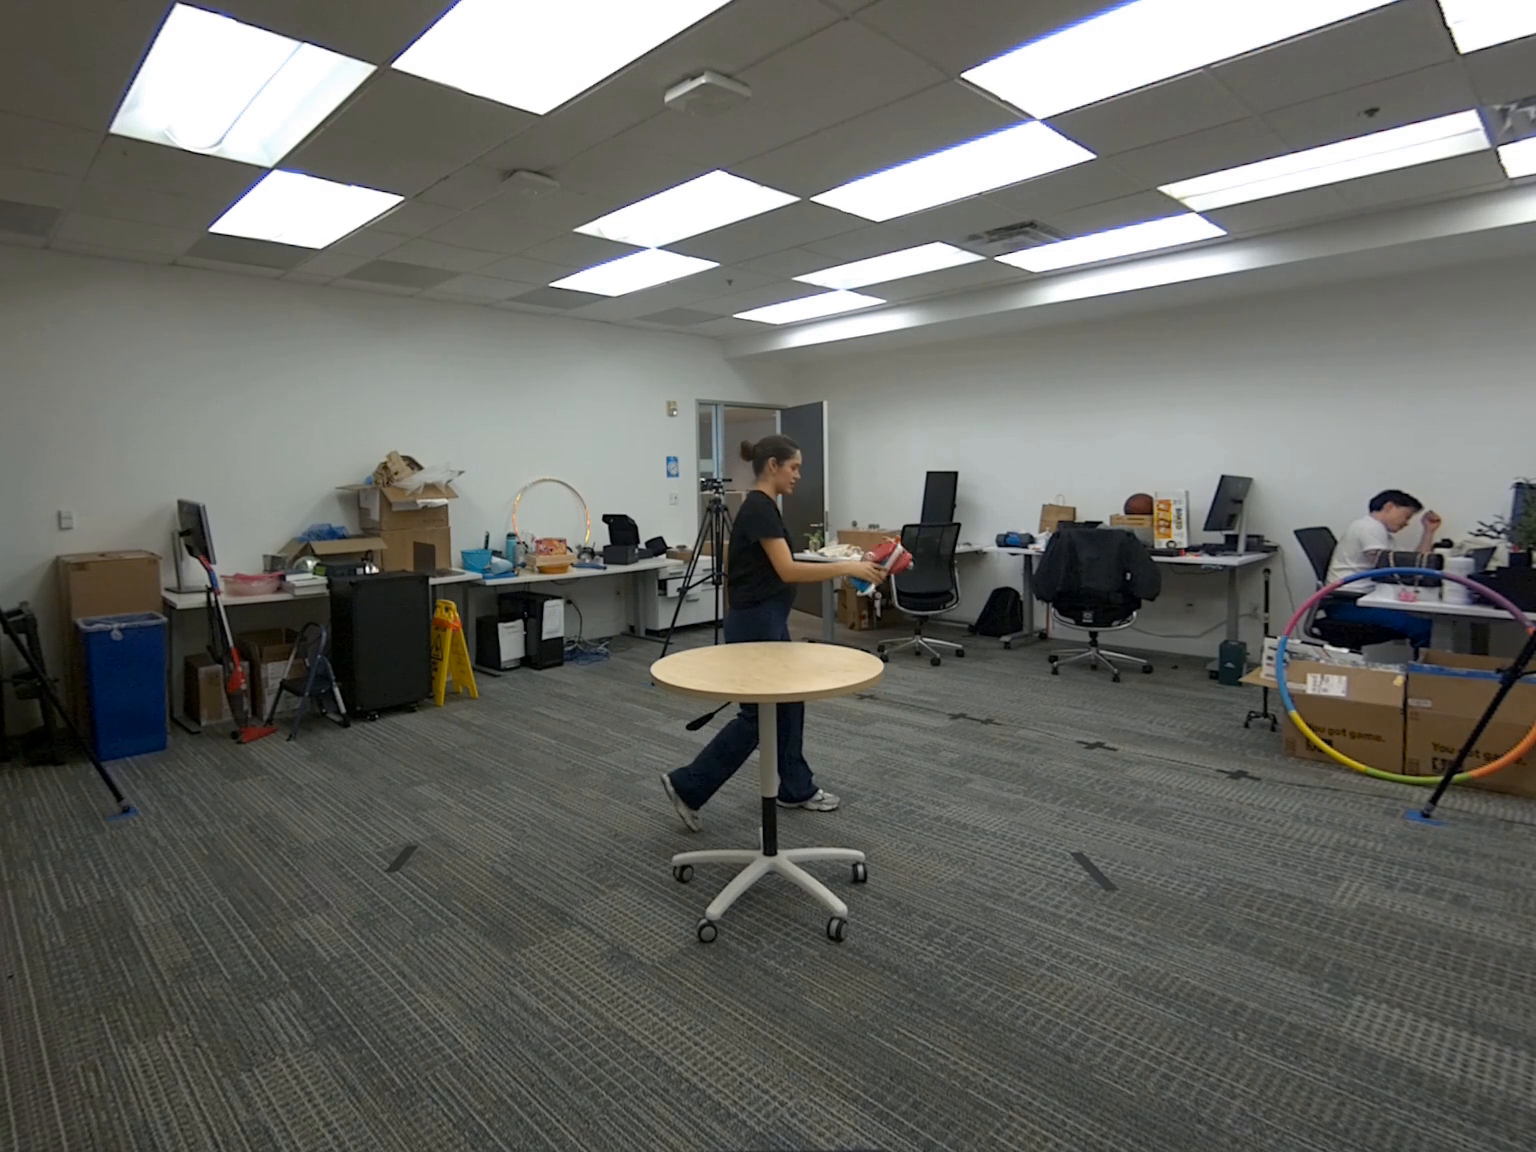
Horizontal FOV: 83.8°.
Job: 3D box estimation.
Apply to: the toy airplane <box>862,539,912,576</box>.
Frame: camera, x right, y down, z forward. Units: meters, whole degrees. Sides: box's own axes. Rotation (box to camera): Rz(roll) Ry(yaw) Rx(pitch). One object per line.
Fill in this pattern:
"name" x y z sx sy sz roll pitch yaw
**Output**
"toy airplane" 0.427 -0.026 3.266 0.253 0.155 0.258 -31 9 44
